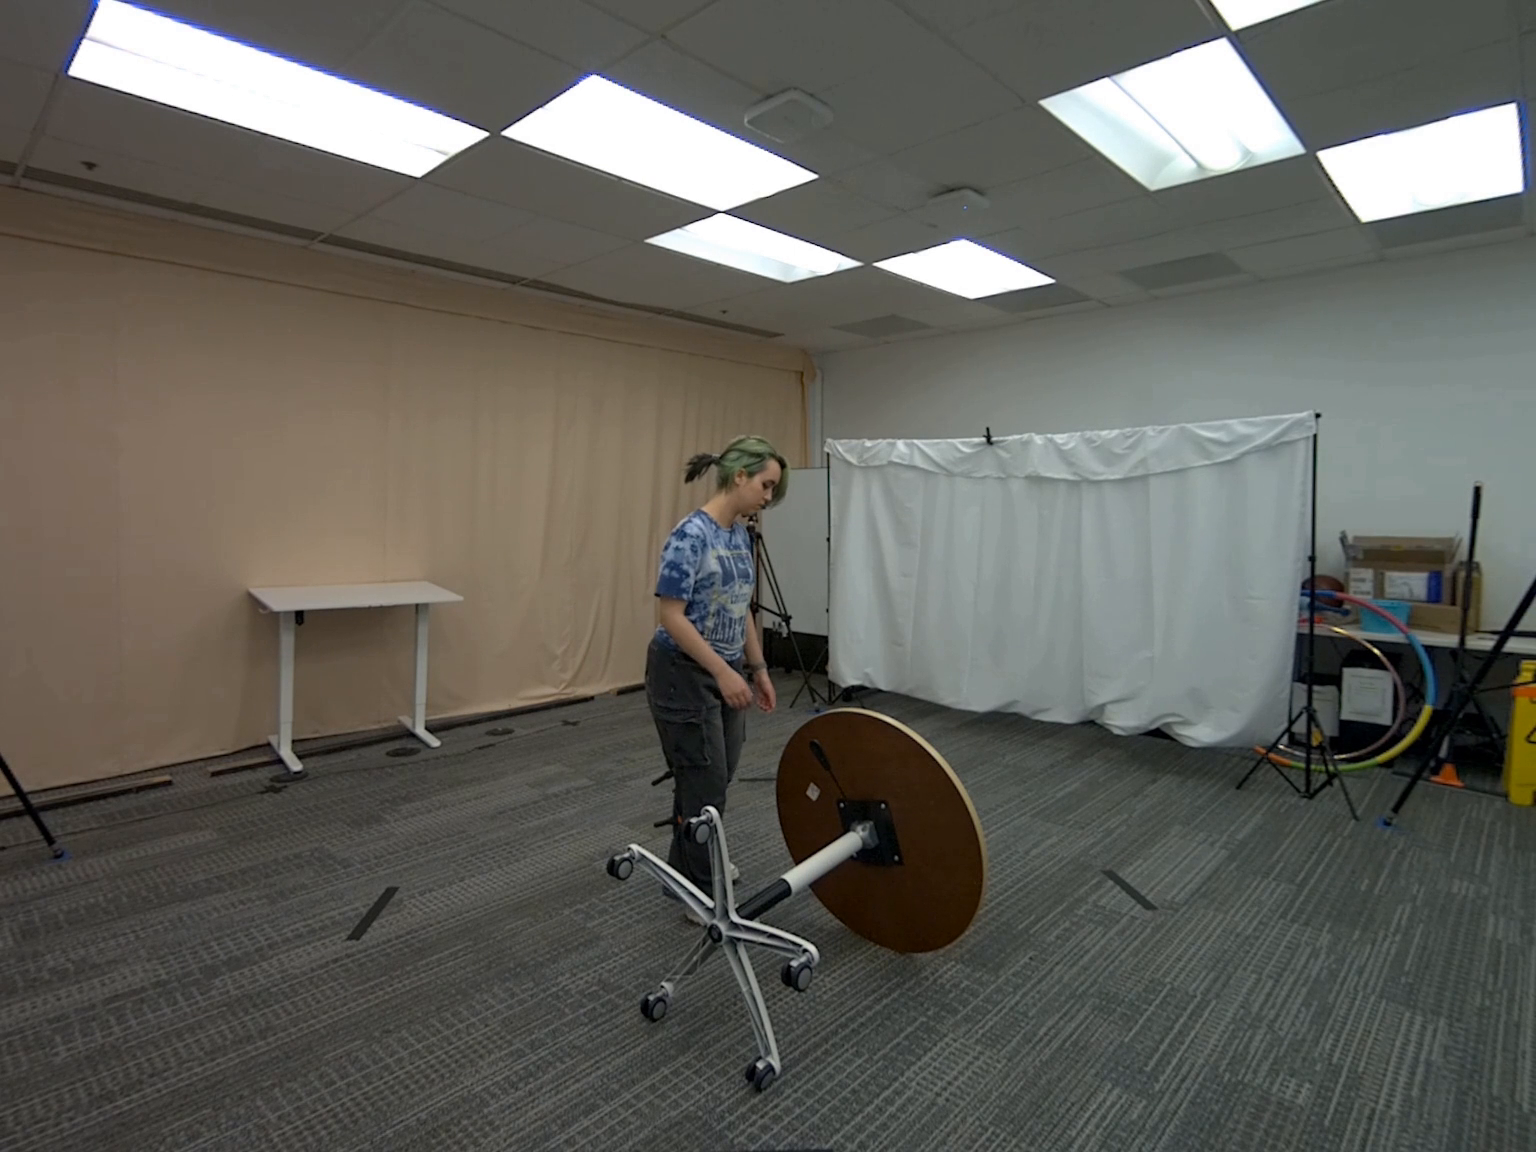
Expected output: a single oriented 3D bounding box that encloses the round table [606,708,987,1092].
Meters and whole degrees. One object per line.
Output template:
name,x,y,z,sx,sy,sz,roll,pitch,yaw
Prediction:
round table,0.075,0.855,2.365,0.789,0.759,0.772,4,12,43
